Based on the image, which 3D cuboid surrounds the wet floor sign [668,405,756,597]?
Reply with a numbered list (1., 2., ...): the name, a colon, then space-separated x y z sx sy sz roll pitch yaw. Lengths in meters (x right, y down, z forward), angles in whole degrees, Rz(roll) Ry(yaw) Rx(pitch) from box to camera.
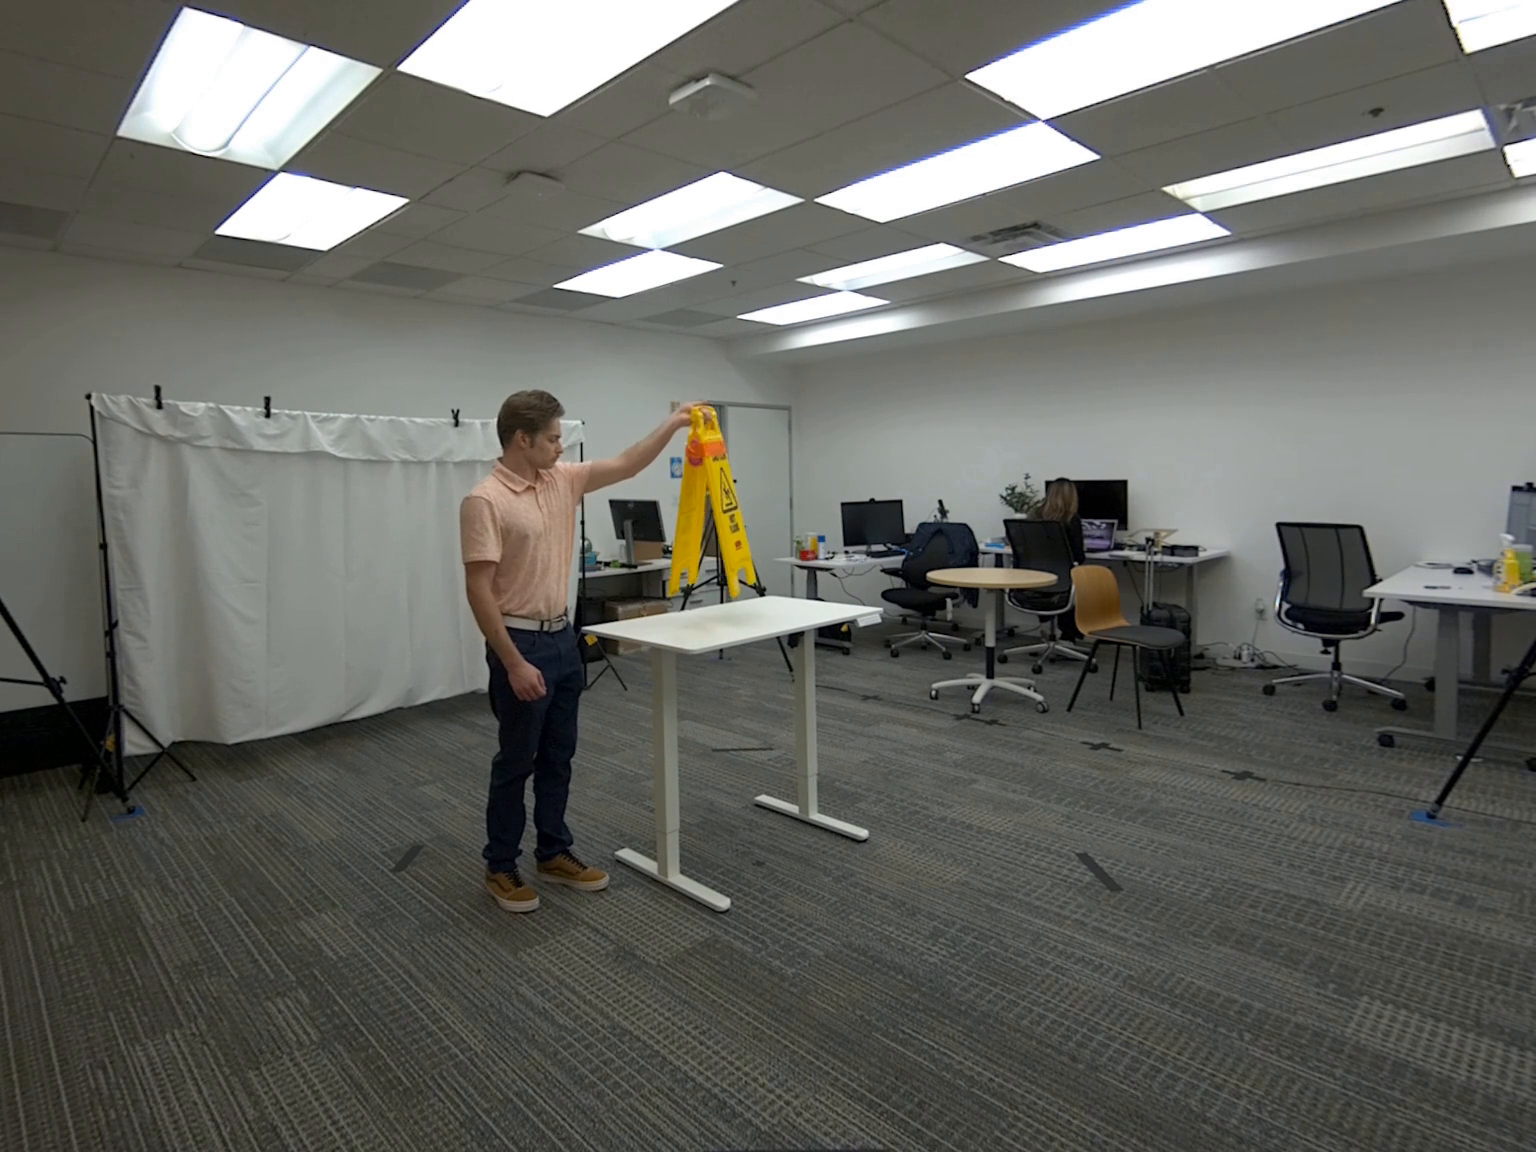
1. wet floor sign: -0.207 -0.269 3.031 0.294 0.641 0.280 1 9 16
